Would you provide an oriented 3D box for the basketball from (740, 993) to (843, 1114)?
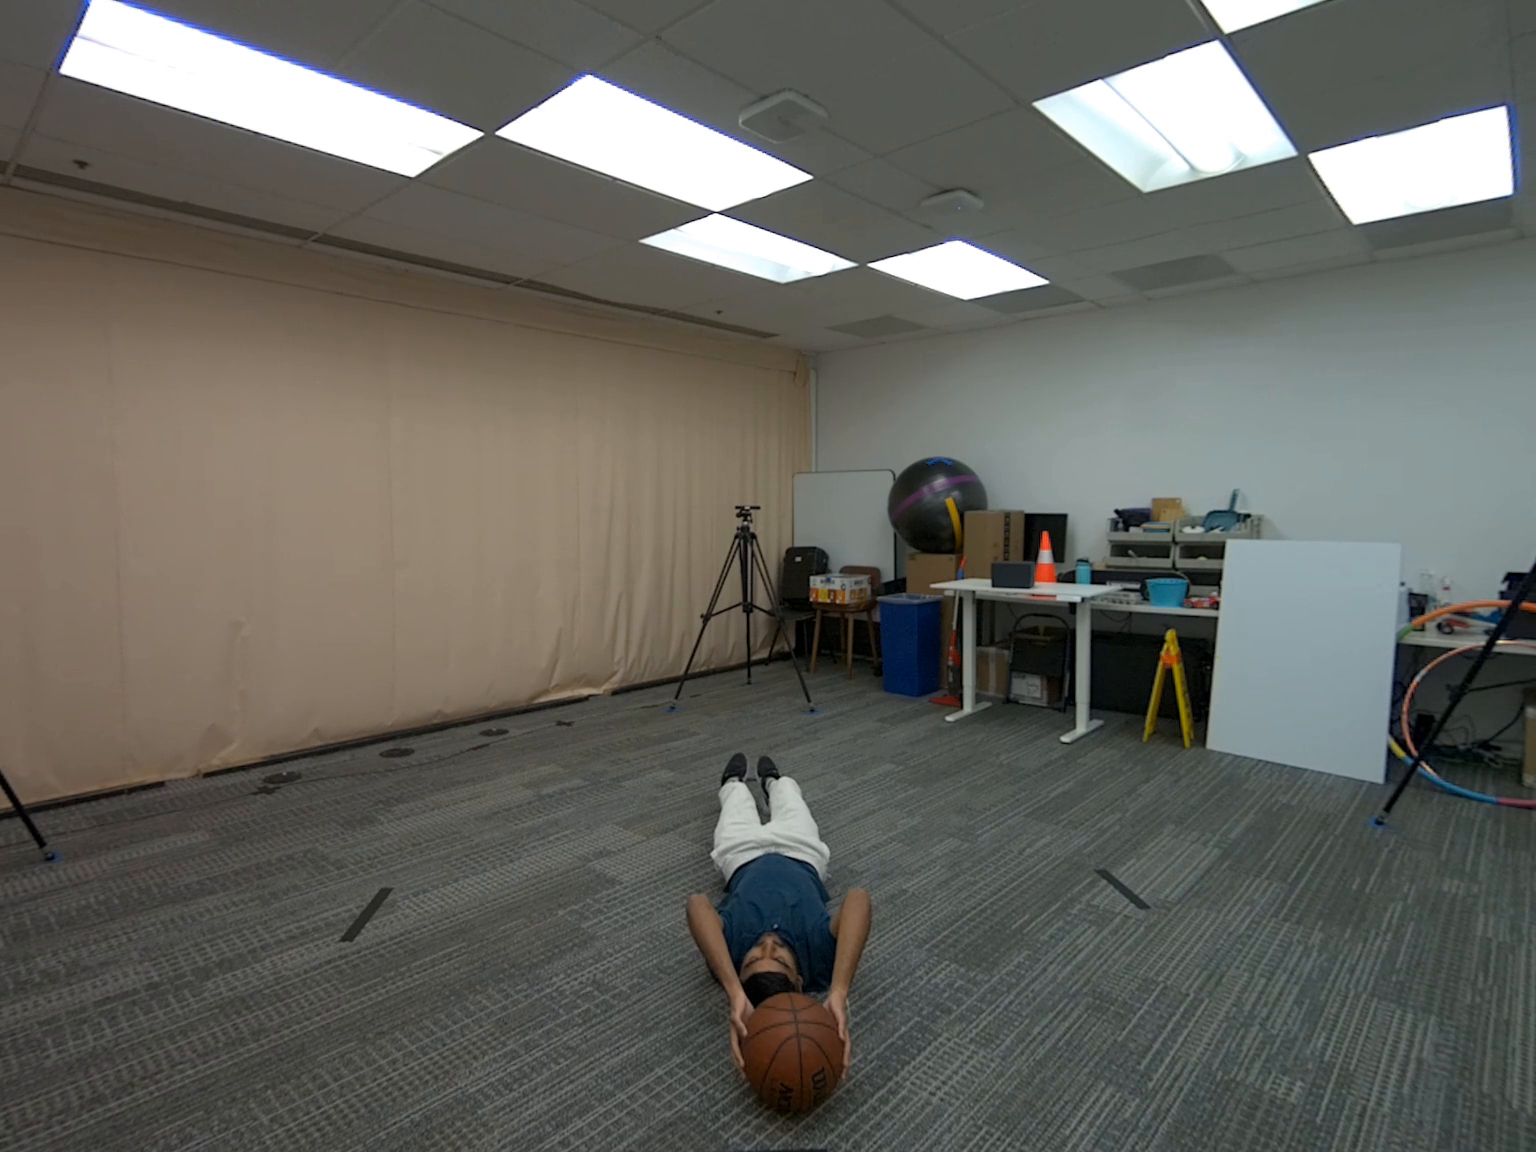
[{"bbox_3d":[0.063,1.111,1.962,0.236,0.235,0.237,0,4,-2],"label":"basketball"}]
